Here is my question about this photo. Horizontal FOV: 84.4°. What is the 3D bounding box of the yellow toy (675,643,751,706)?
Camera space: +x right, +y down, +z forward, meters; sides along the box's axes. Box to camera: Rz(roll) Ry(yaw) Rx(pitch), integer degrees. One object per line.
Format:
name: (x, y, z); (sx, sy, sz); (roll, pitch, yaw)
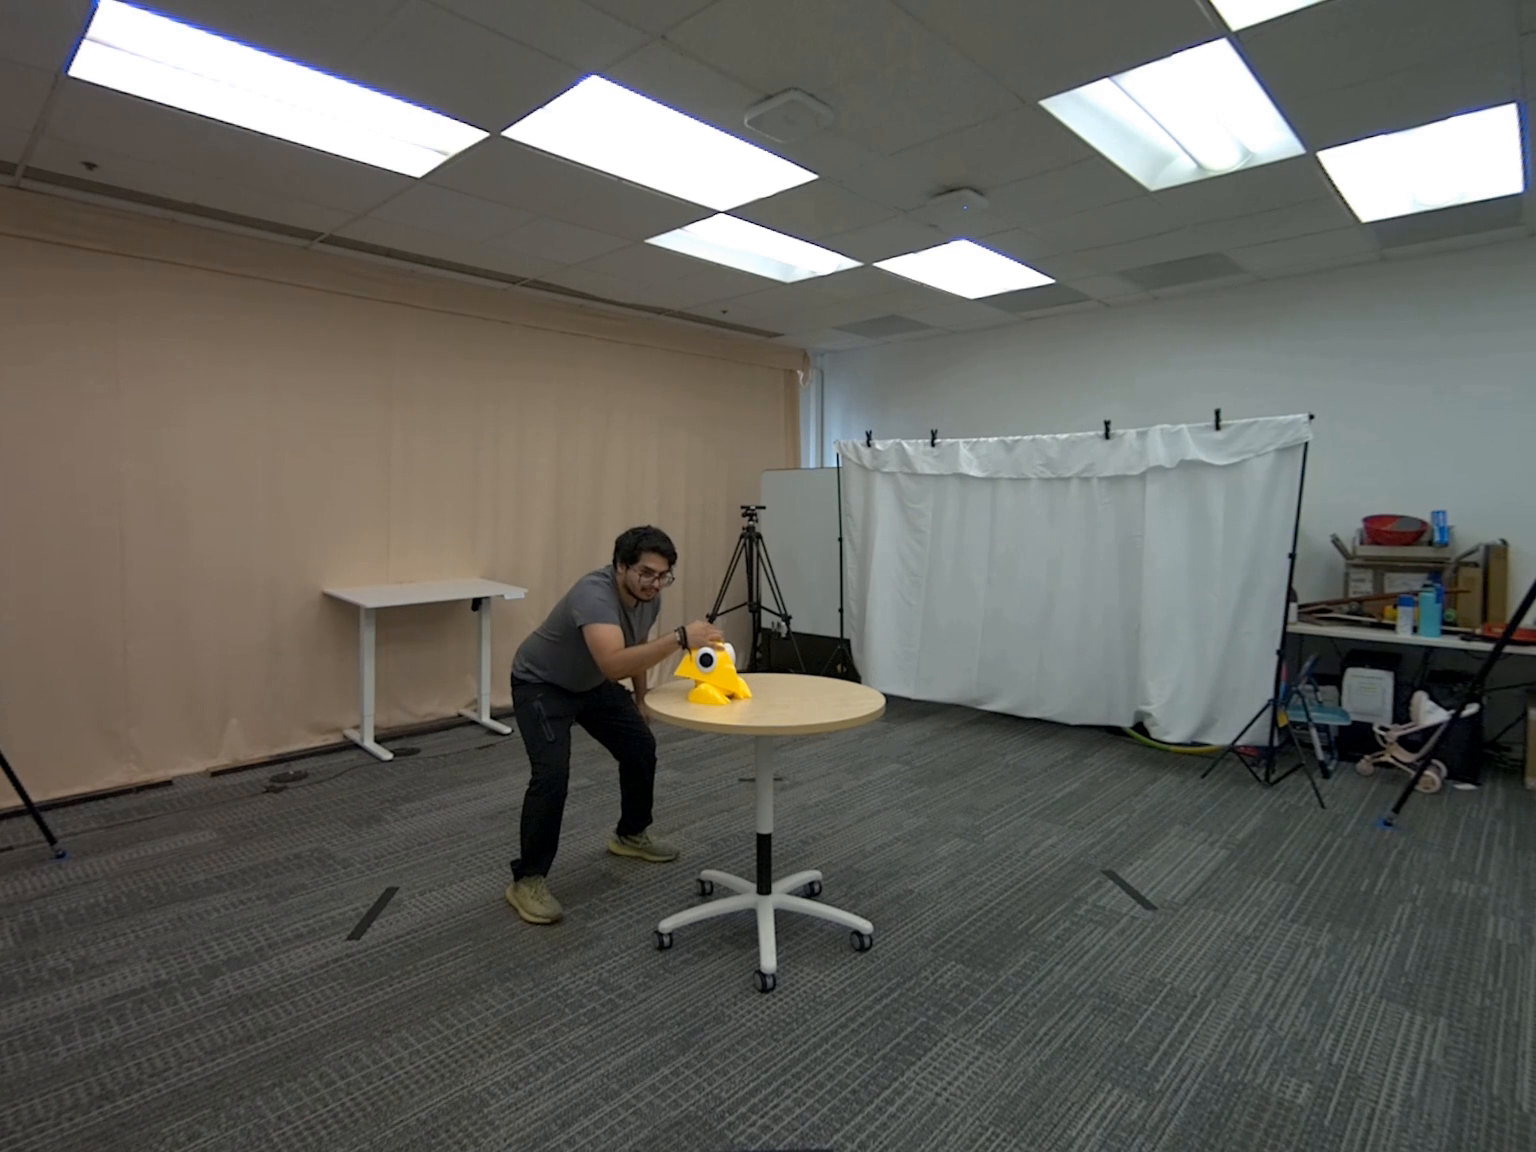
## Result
yellow toy: (-0.156, 0.274, 2.678); (0.199, 0.230, 0.199); (3, 5, 38)
